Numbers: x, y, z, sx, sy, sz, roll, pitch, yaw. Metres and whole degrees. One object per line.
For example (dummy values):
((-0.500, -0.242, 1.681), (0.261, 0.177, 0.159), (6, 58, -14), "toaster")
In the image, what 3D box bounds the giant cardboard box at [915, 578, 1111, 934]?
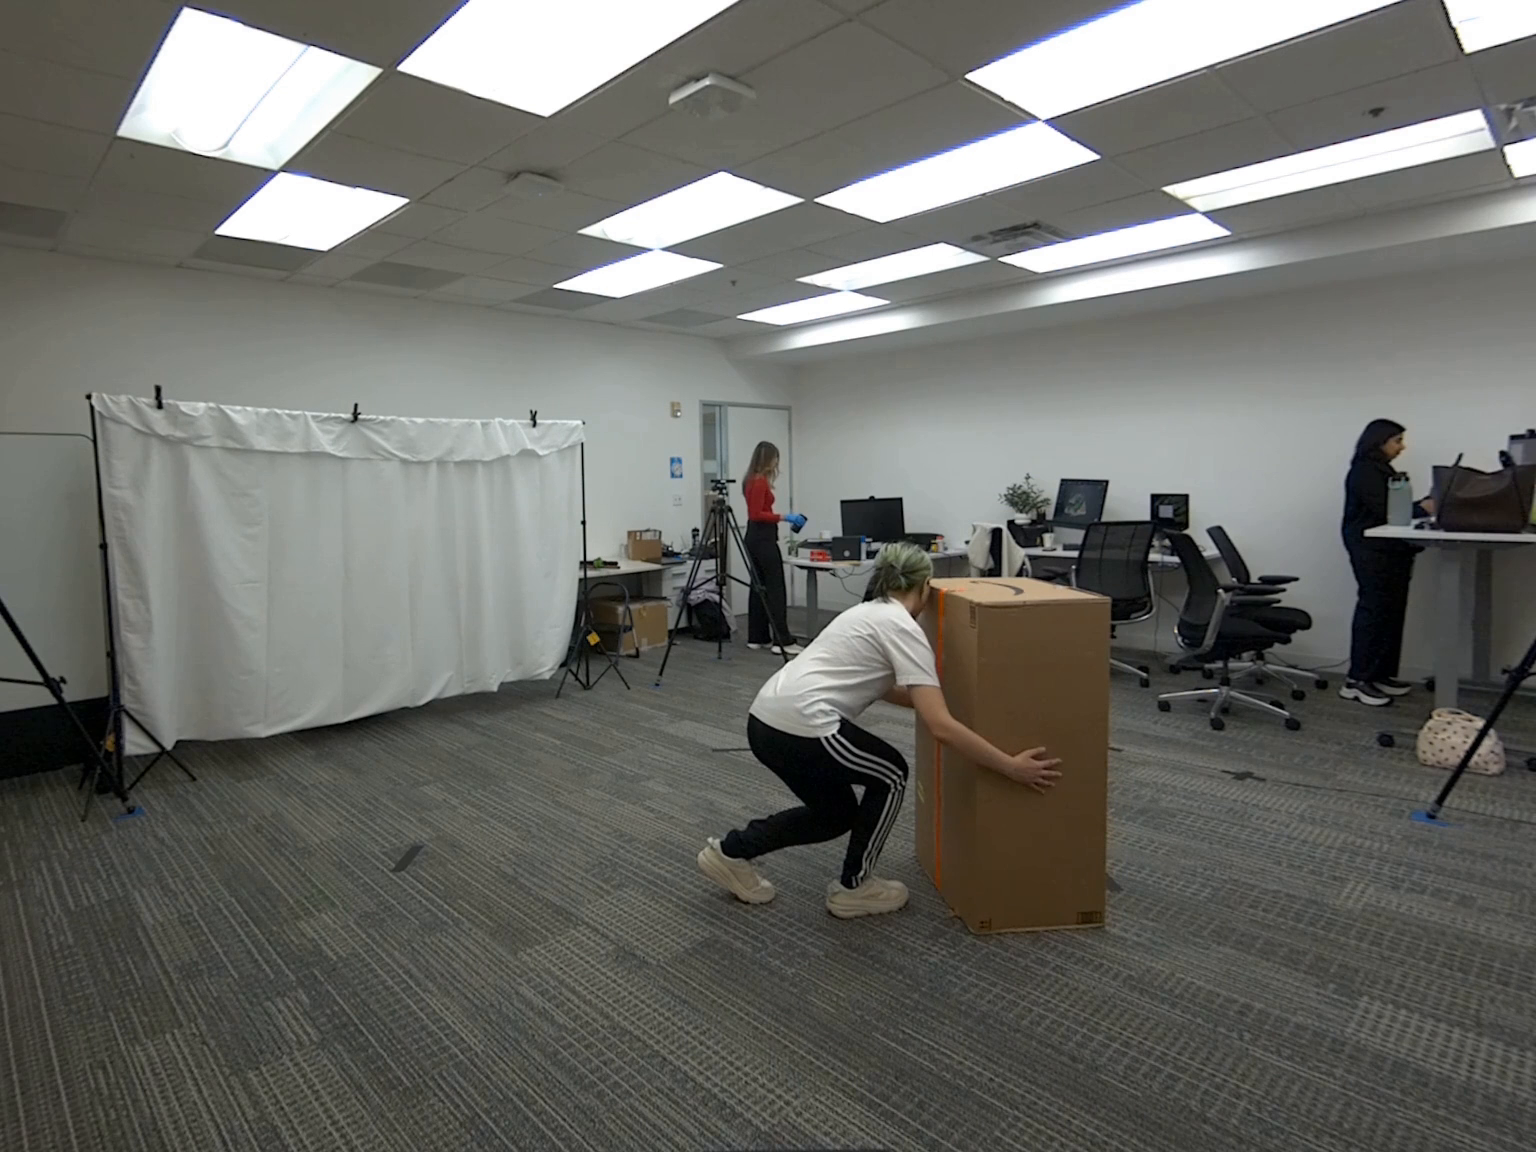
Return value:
((0.792, 0.553, 2.858), (0.444, 1.023, 0.590), (0, 4, -8), "giant cardboard box")
